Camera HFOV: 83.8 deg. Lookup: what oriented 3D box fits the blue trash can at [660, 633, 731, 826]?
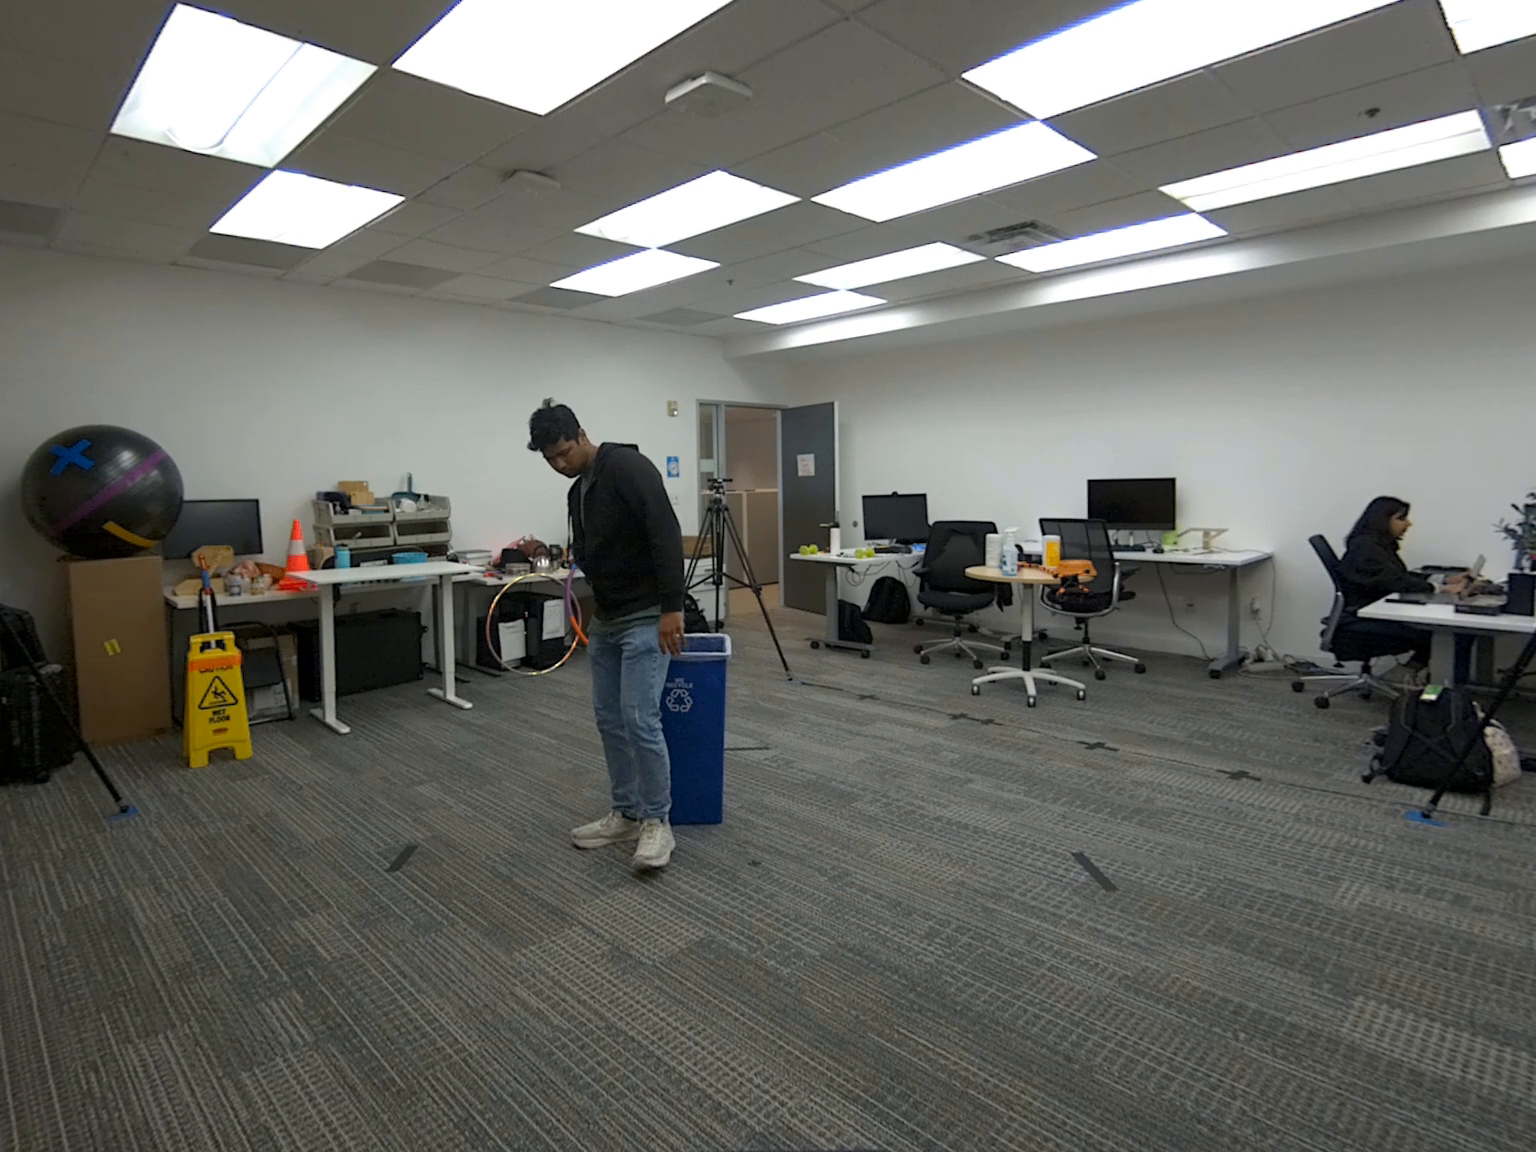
[{"bbox_3d":[-0.335,0.634,3.576,0.377,0.711,0.377,0,5,-4],"label":"blue trash can"}]
